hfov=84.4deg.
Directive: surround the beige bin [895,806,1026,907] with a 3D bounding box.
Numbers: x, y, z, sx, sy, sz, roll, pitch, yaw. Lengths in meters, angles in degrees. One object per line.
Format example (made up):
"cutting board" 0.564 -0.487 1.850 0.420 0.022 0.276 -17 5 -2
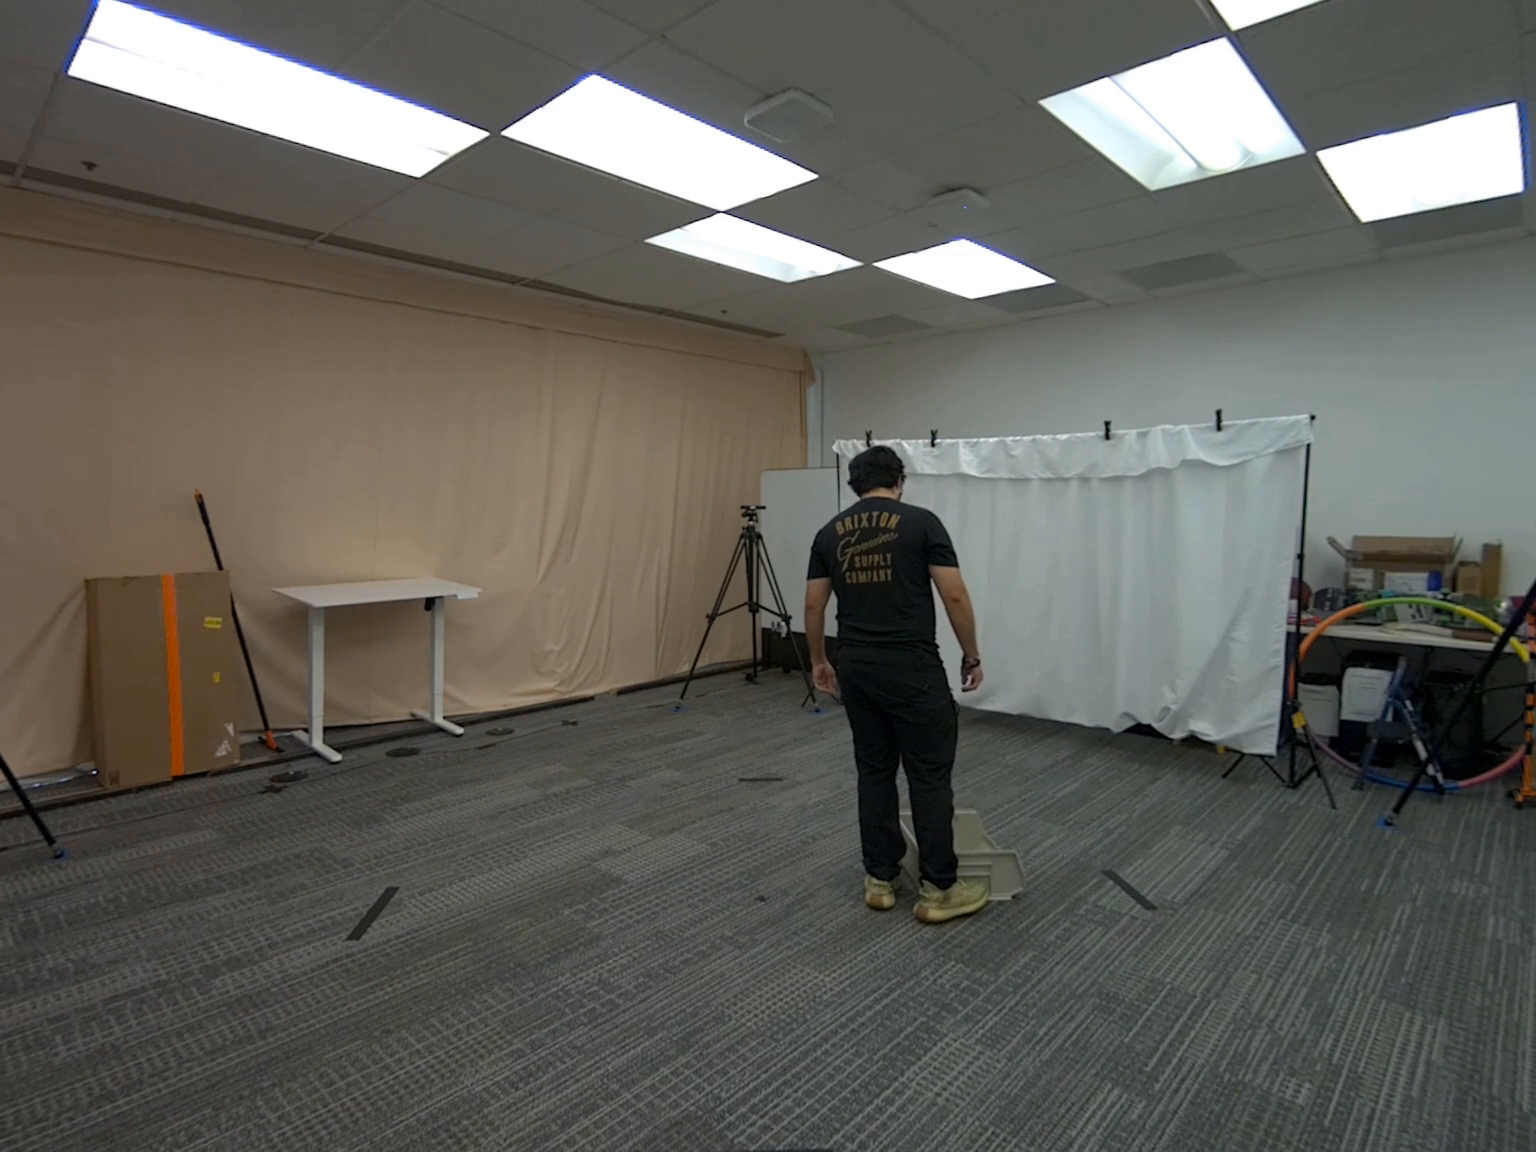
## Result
"beige bin" 0.712 1.043 3.165 0.376 0.188 0.425 -1 5 -4
